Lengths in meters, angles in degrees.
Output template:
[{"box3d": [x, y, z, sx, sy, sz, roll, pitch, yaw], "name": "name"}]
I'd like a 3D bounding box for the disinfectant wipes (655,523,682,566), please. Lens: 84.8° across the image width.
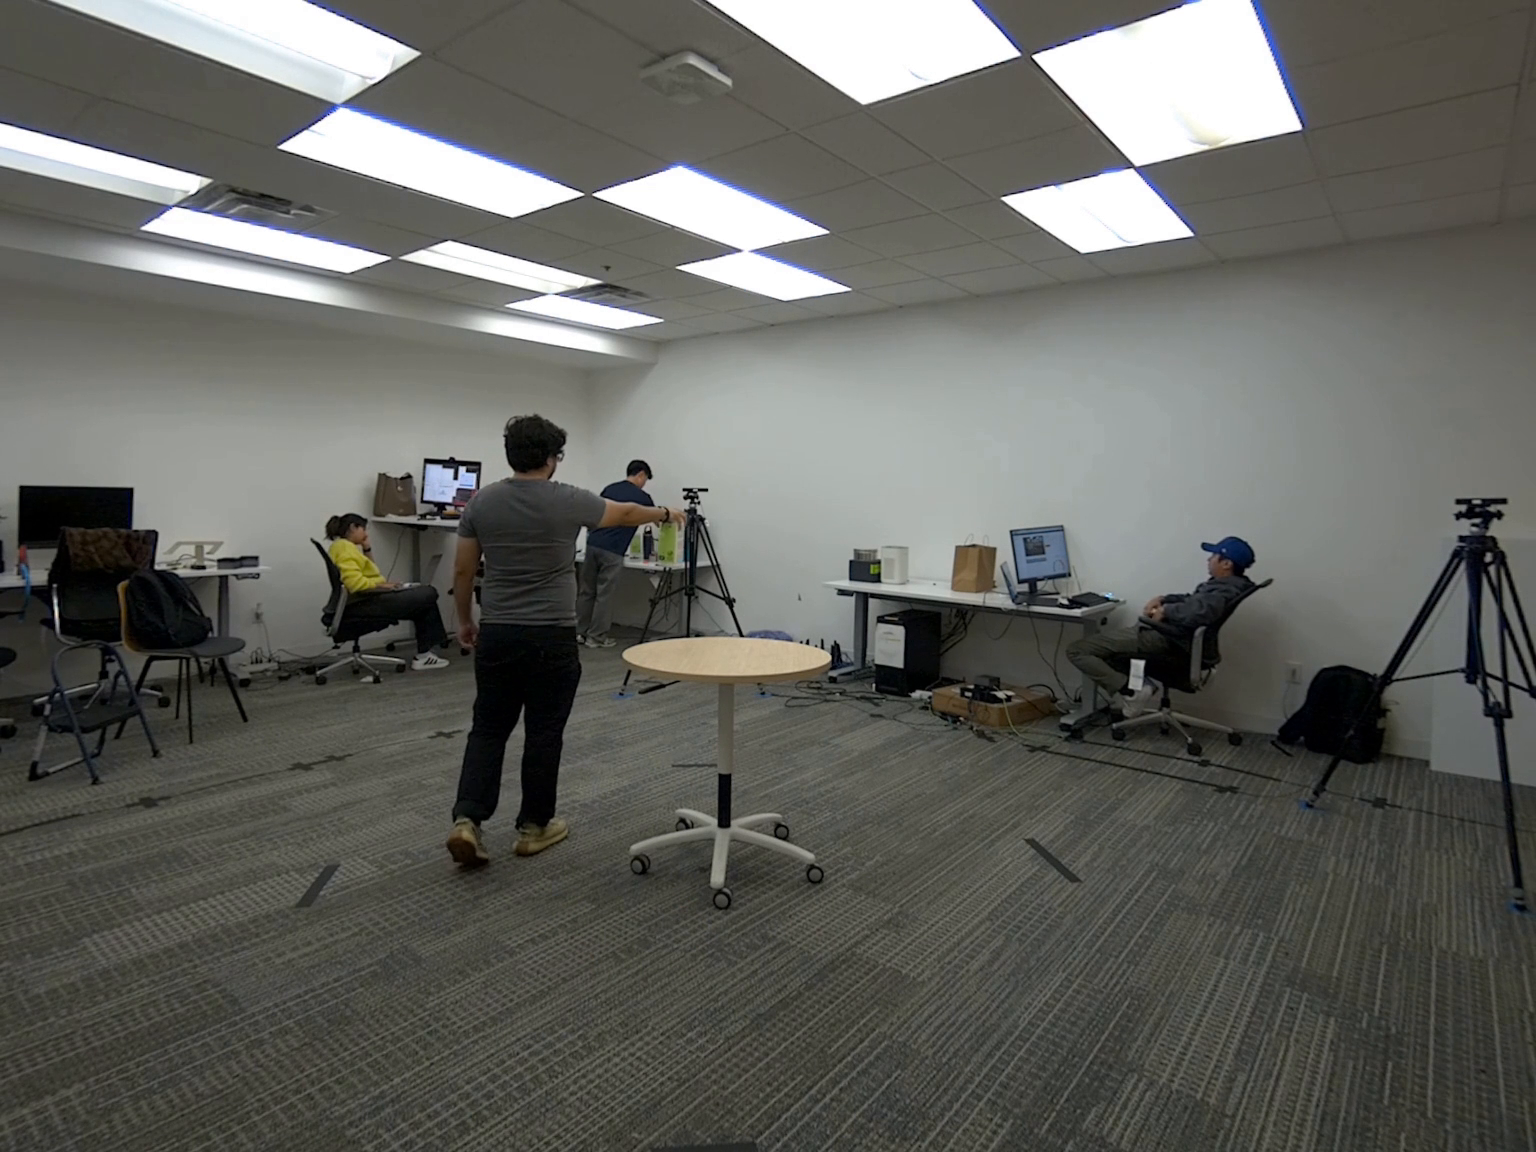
[{"box3d": [-0.435, -0.152, 3.689, 0.117, 0.216, 0.118, 2, 5, -2], "name": "disinfectant wipes"}]
